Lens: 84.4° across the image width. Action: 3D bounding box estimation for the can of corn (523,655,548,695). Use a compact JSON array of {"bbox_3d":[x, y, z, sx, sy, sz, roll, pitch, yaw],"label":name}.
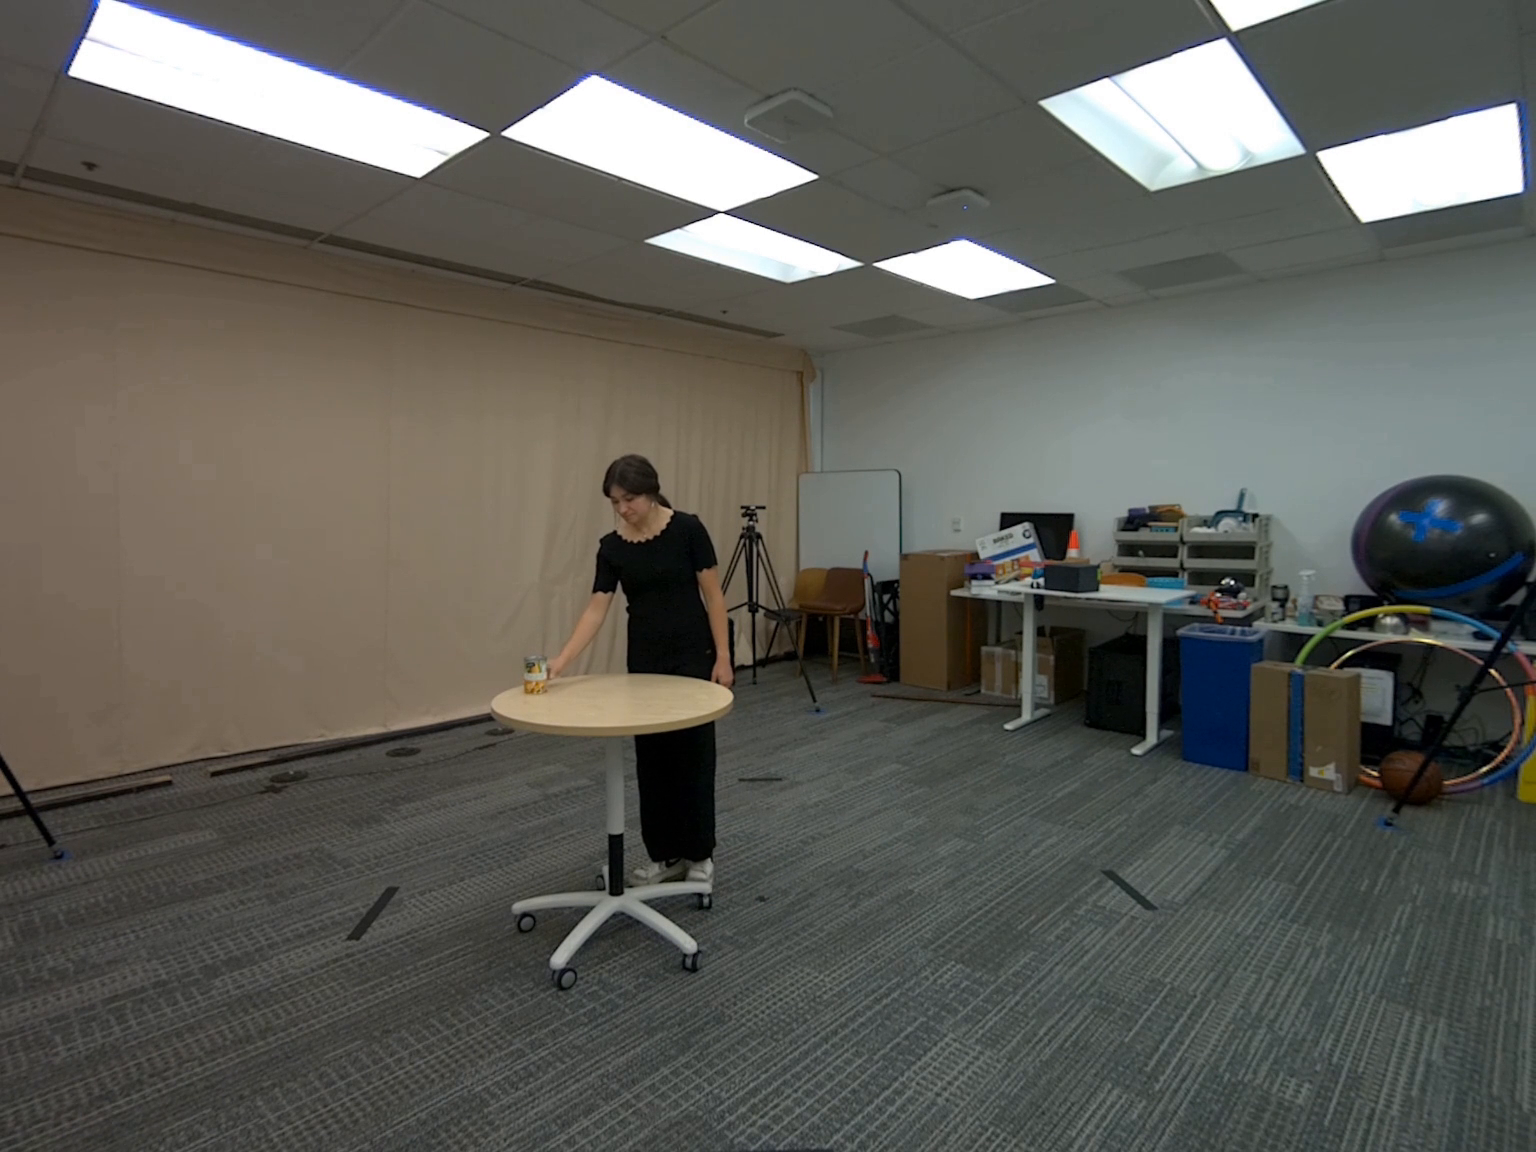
[{"bbox_3d":[-0.770,0.325,2.777,0.074,0.111,0.074,-1,2,-2],"label":"can of corn"}]
